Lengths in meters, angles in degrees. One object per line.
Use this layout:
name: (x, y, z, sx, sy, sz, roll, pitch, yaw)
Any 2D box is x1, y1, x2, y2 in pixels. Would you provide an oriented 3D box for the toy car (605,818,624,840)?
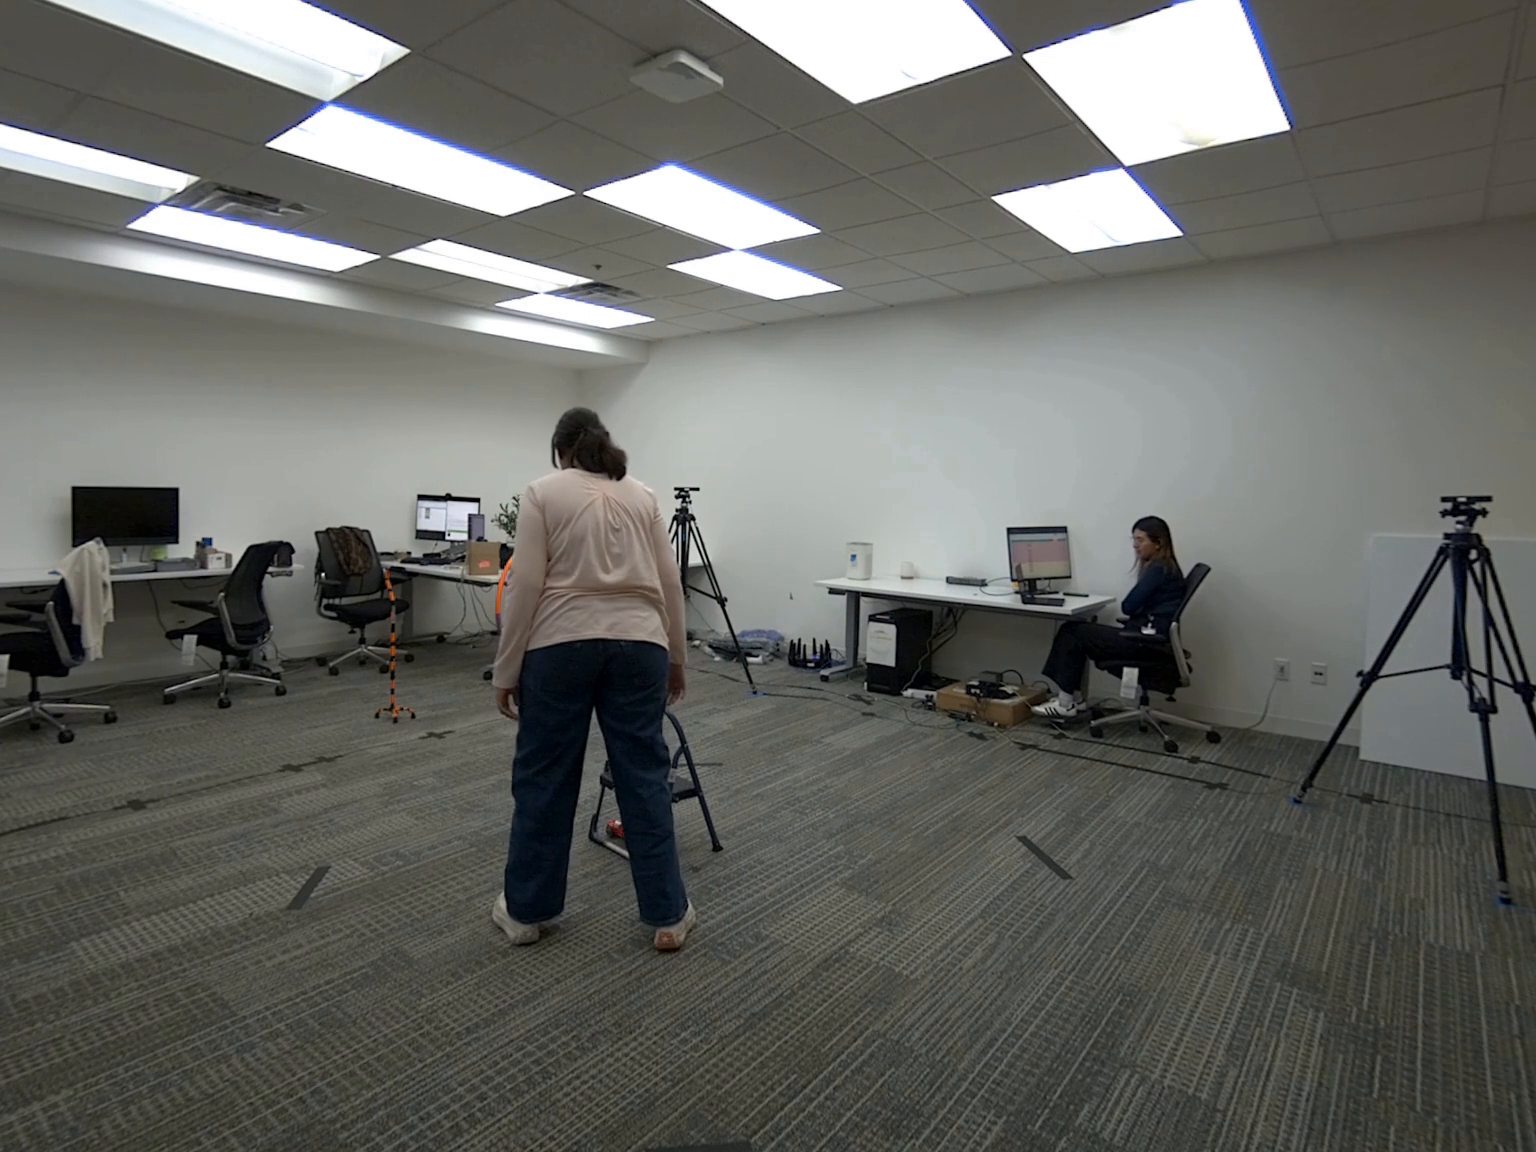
toy car: (-0.528, 0.998, 3.353, 0.261, 0.083, 0.126, -9, -4, 41)
